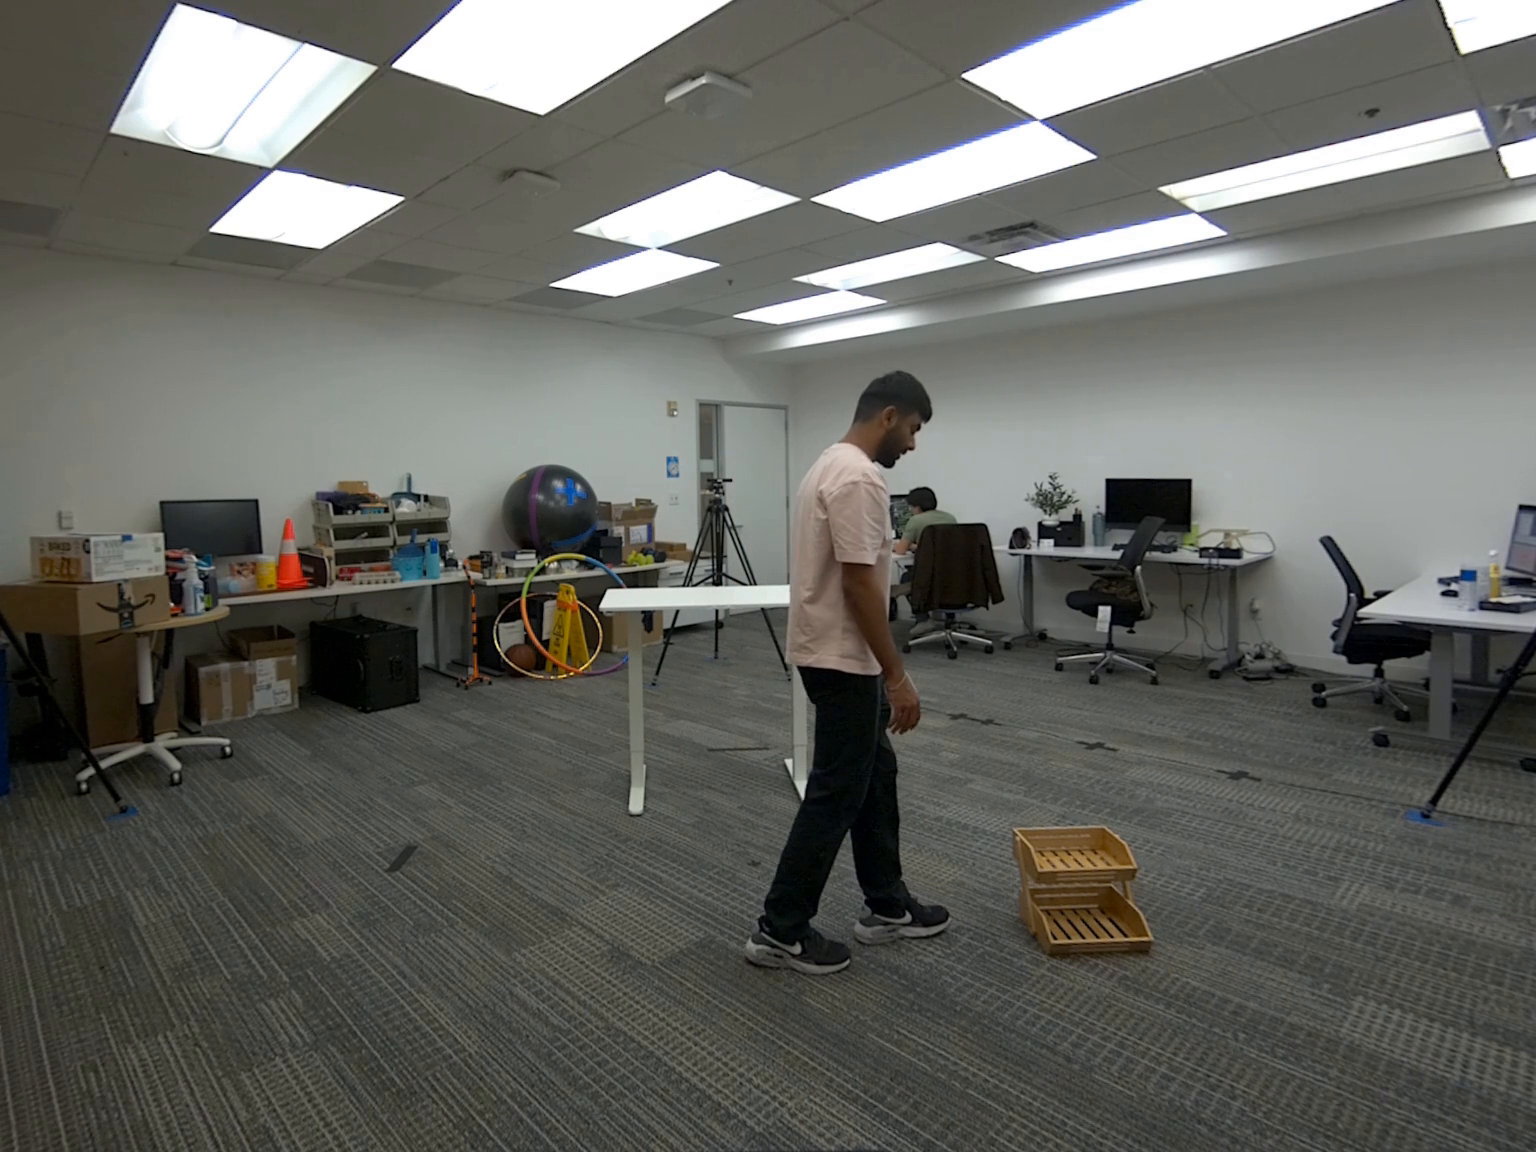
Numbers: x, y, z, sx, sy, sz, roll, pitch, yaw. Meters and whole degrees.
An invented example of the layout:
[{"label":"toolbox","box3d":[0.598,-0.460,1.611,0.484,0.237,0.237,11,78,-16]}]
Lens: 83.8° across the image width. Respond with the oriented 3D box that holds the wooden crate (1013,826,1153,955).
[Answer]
[{"label":"wooden crate","box3d":[0.960,0.953,2.601,0.323,0.272,0.304,-1,4,-4]}]
